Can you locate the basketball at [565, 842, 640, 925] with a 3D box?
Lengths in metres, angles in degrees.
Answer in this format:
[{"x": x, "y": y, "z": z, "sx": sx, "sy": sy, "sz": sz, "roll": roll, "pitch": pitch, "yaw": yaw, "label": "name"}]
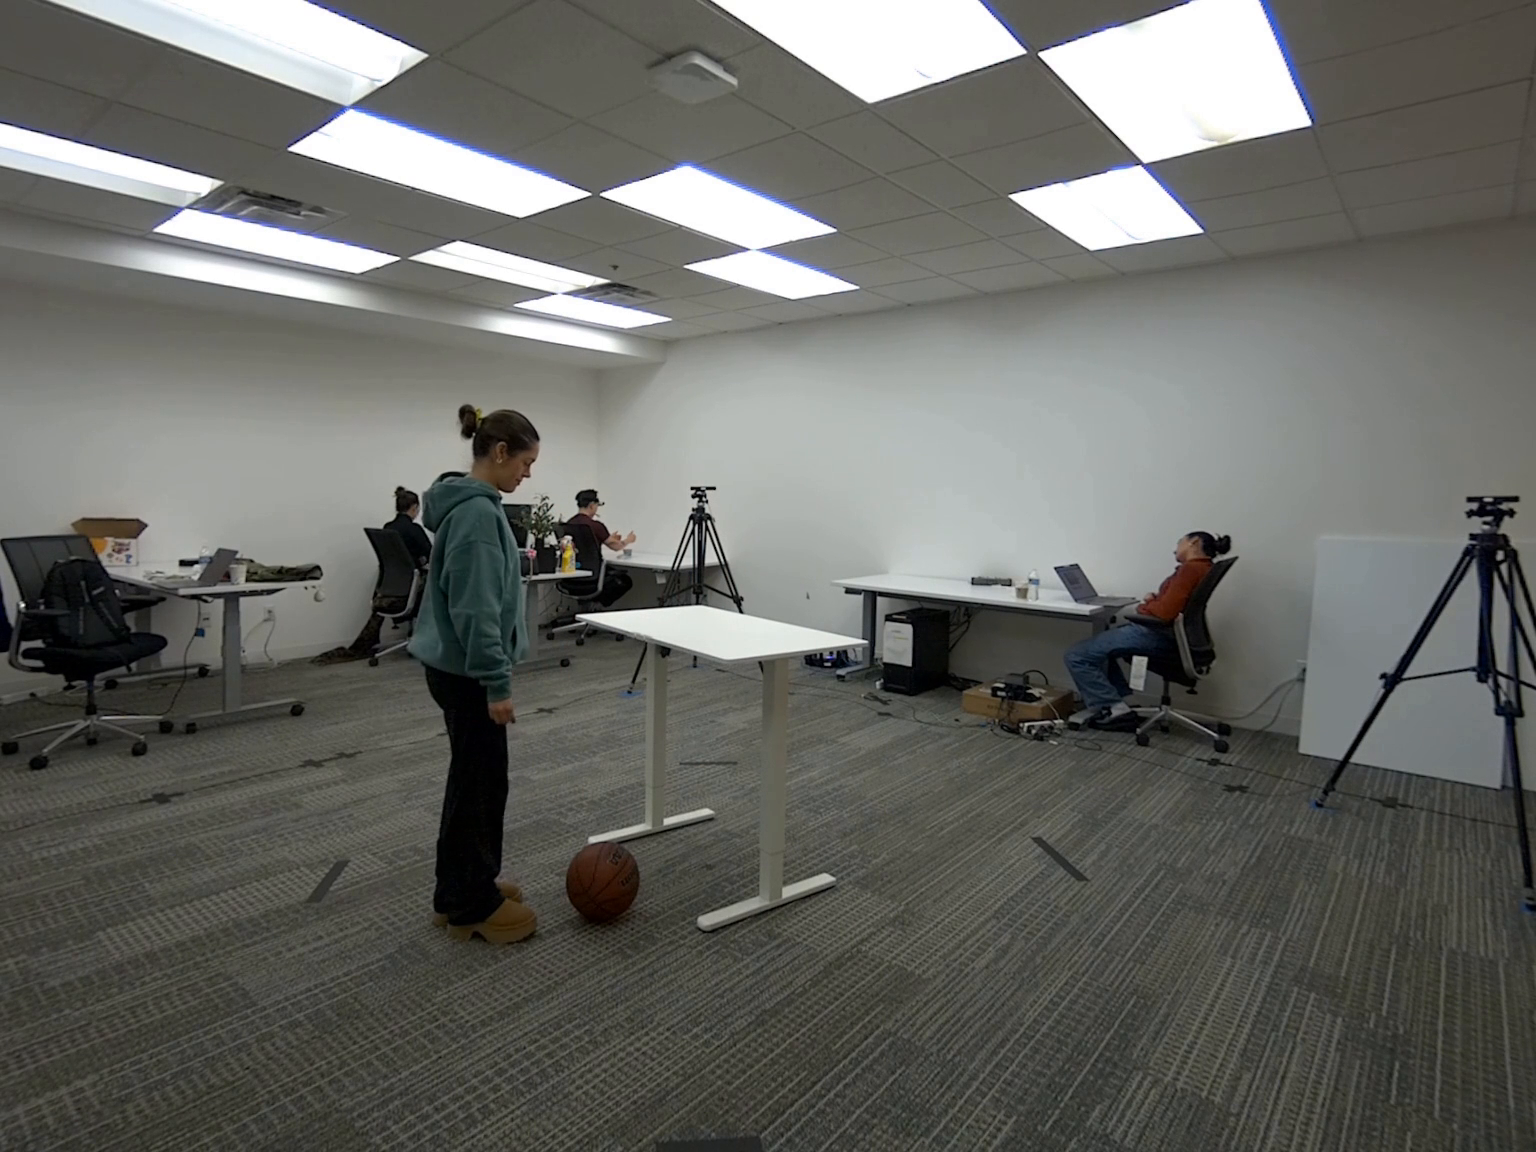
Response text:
[{"x": -0.549, "y": 0.987, "z": 2.730, "sx": 0.235, "sy": 0.235, "sz": 0.237, "roll": 1, "pitch": 4, "yaw": -2, "label": "basketball"}]
